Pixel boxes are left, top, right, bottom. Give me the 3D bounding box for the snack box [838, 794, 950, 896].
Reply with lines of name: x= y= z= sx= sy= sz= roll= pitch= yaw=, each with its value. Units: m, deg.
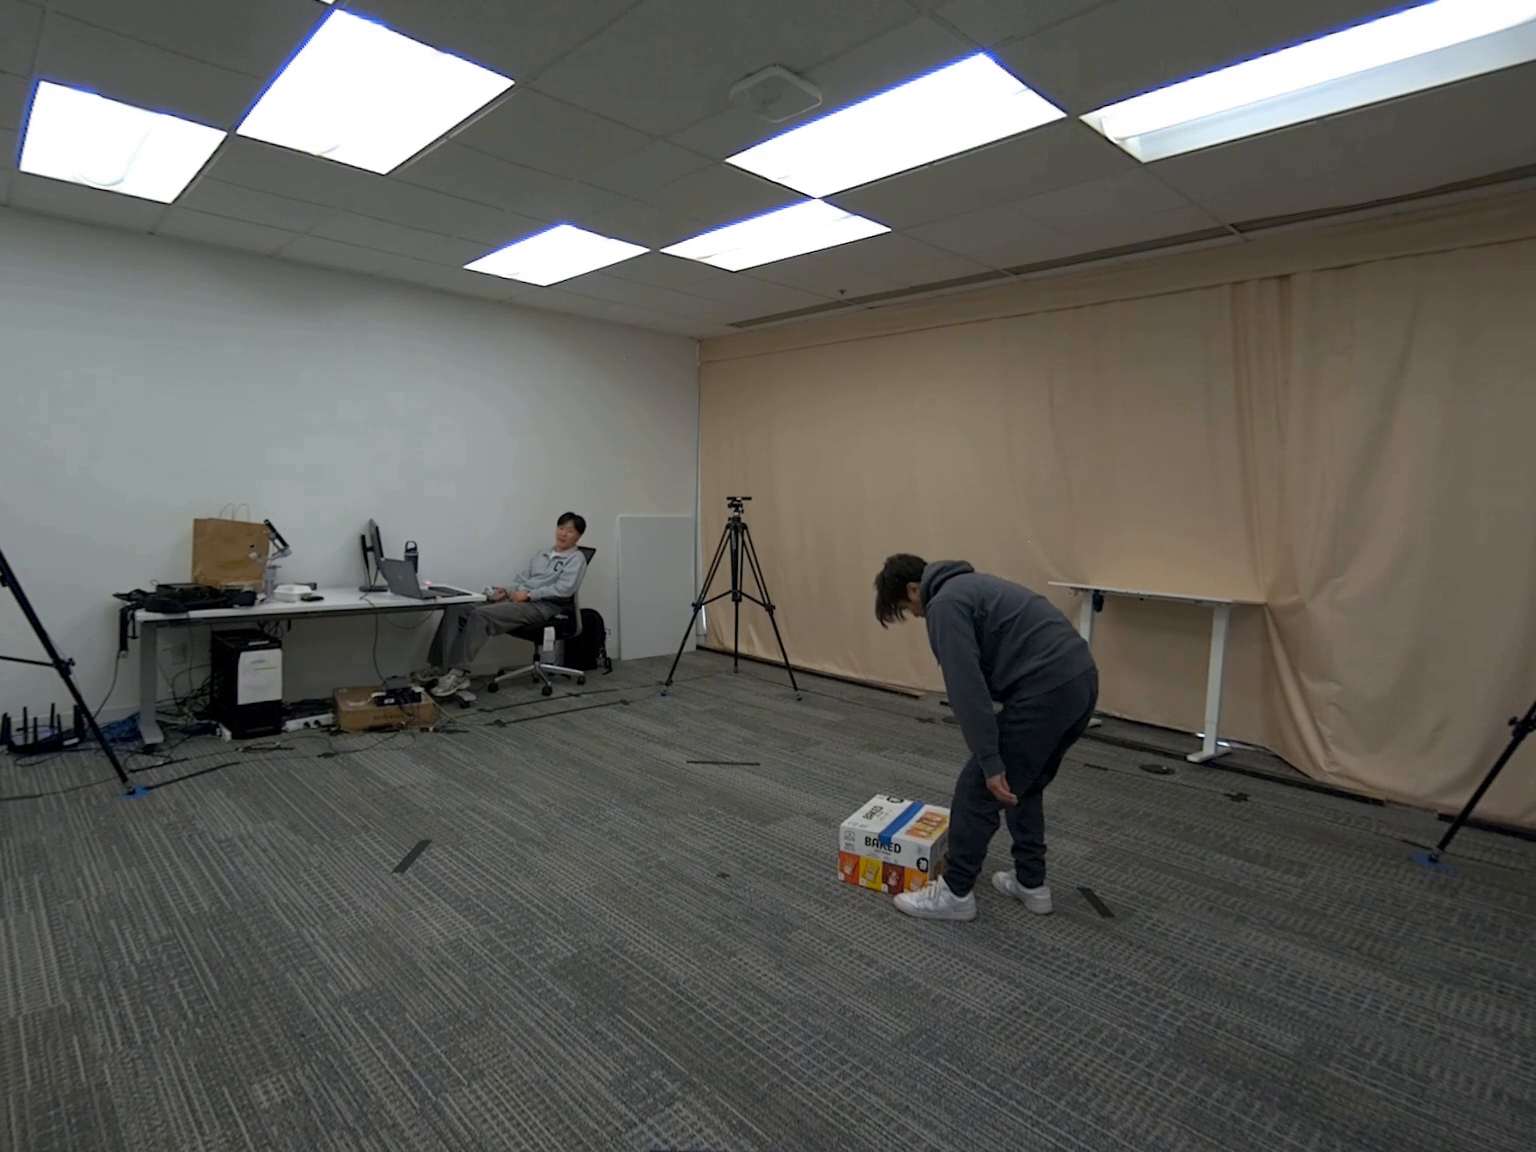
snack box: x=0.494 y=1.013 z=3.174 sx=0.348 sy=0.205 sz=0.397 roll=4 pitch=5 yaw=29
